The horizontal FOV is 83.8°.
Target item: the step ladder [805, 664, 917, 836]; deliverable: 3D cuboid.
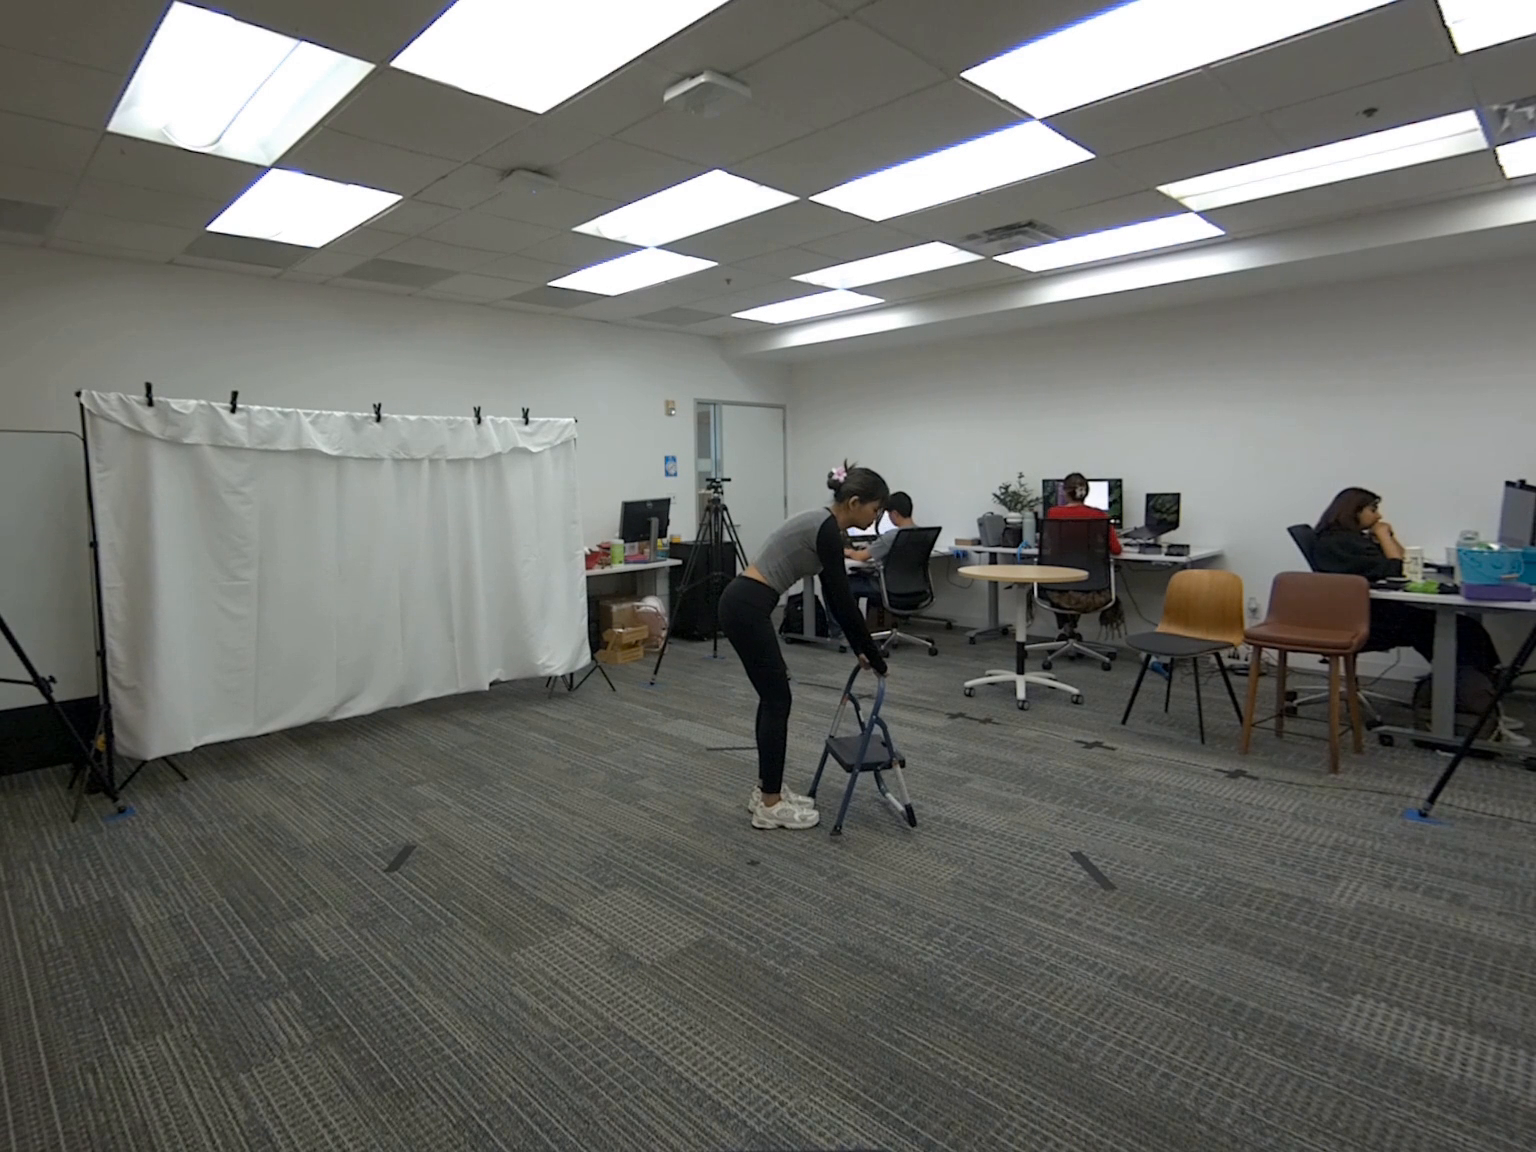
[{"bbox_3d":[0.367,0.663,3.466,0.346,0.604,0.436,-2,4,-9],"label":"step ladder"}]
